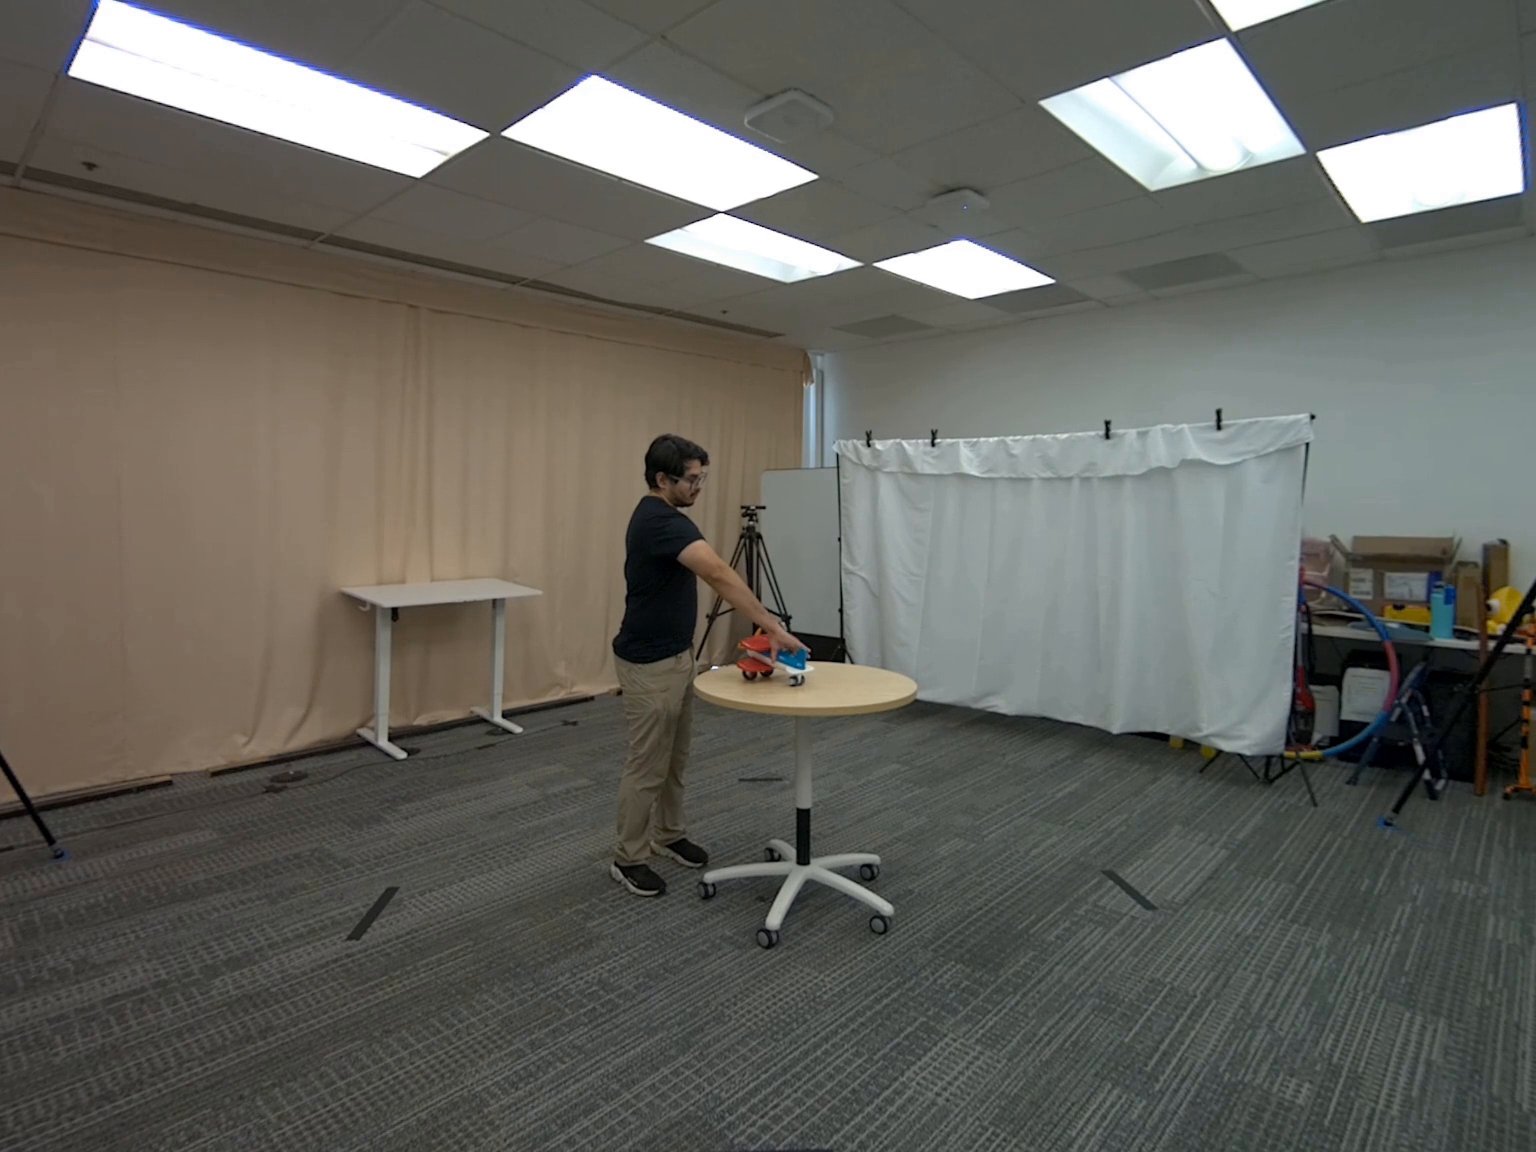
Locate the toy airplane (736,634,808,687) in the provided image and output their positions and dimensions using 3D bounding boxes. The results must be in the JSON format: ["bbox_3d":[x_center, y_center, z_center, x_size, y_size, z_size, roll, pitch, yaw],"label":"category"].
[{"bbox_3d":[0.047,0.291,2.933,0.264,0.156,0.247,0,3,18],"label":"toy airplane"}]
